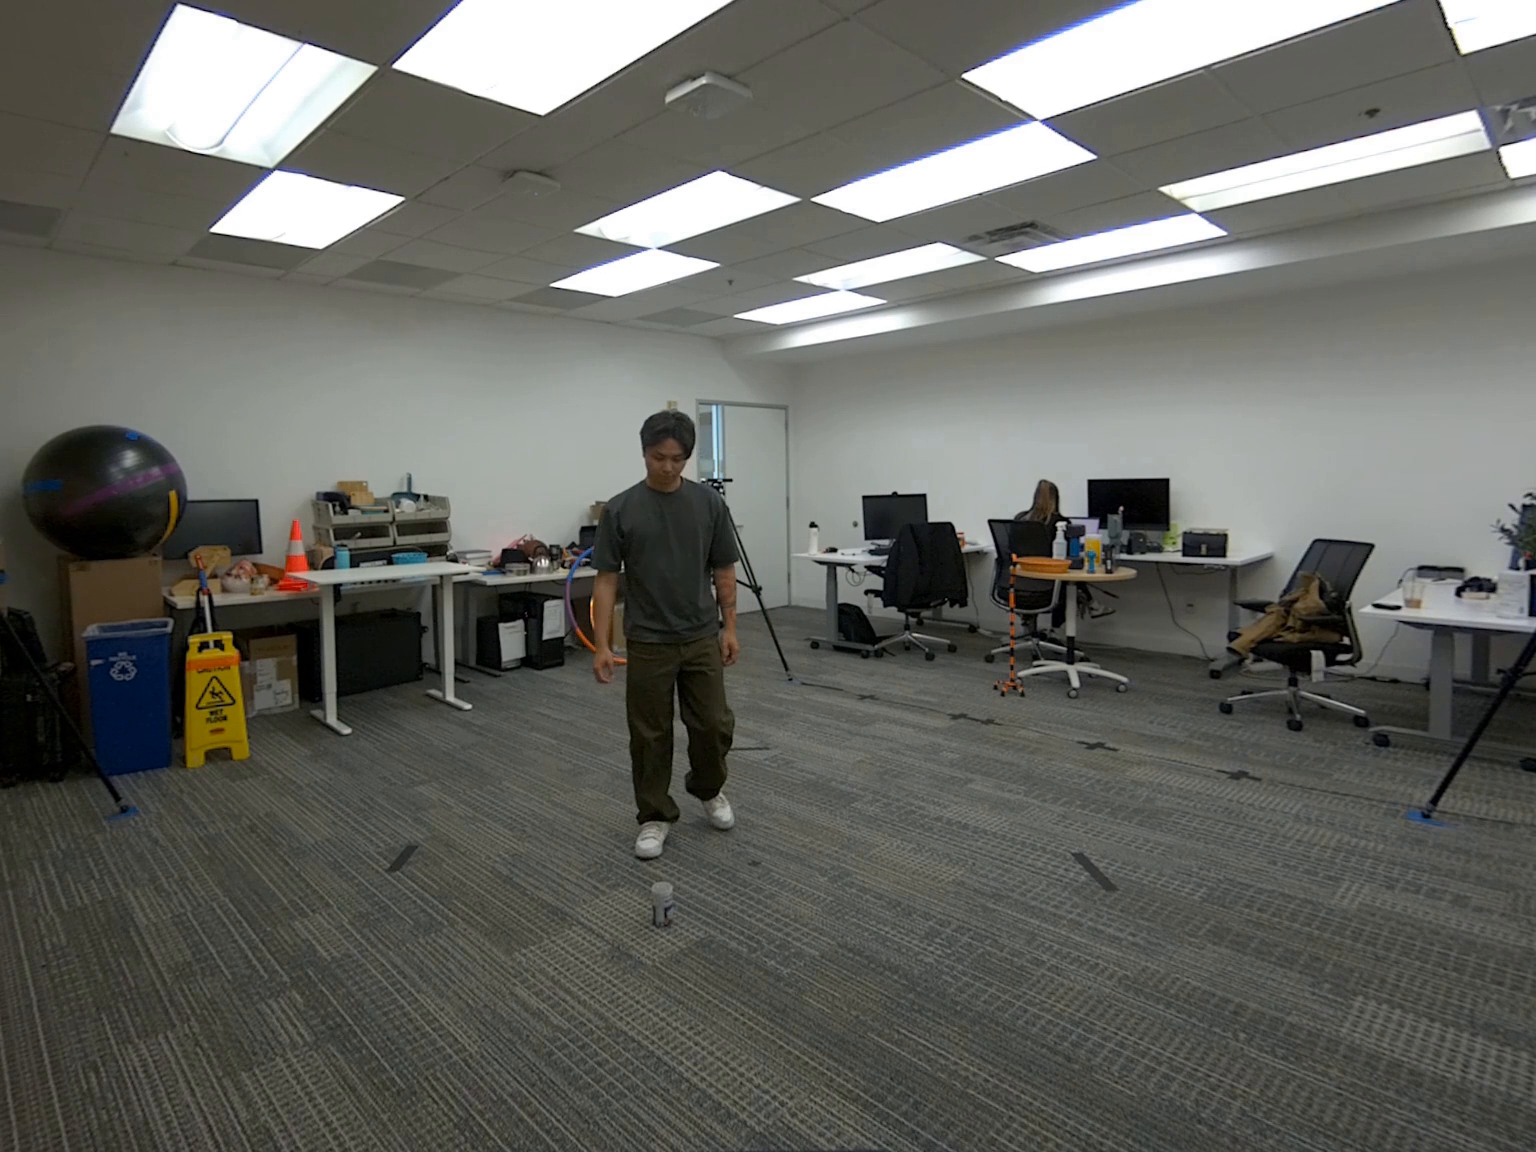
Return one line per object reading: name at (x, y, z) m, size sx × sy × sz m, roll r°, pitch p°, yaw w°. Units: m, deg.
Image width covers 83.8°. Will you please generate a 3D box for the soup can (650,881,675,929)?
soup can at (-0.330, 1.040, 2.698) m, size 0.067 × 0.121 × 0.067 m, roll -1°, pitch 7°, yaw -1°
